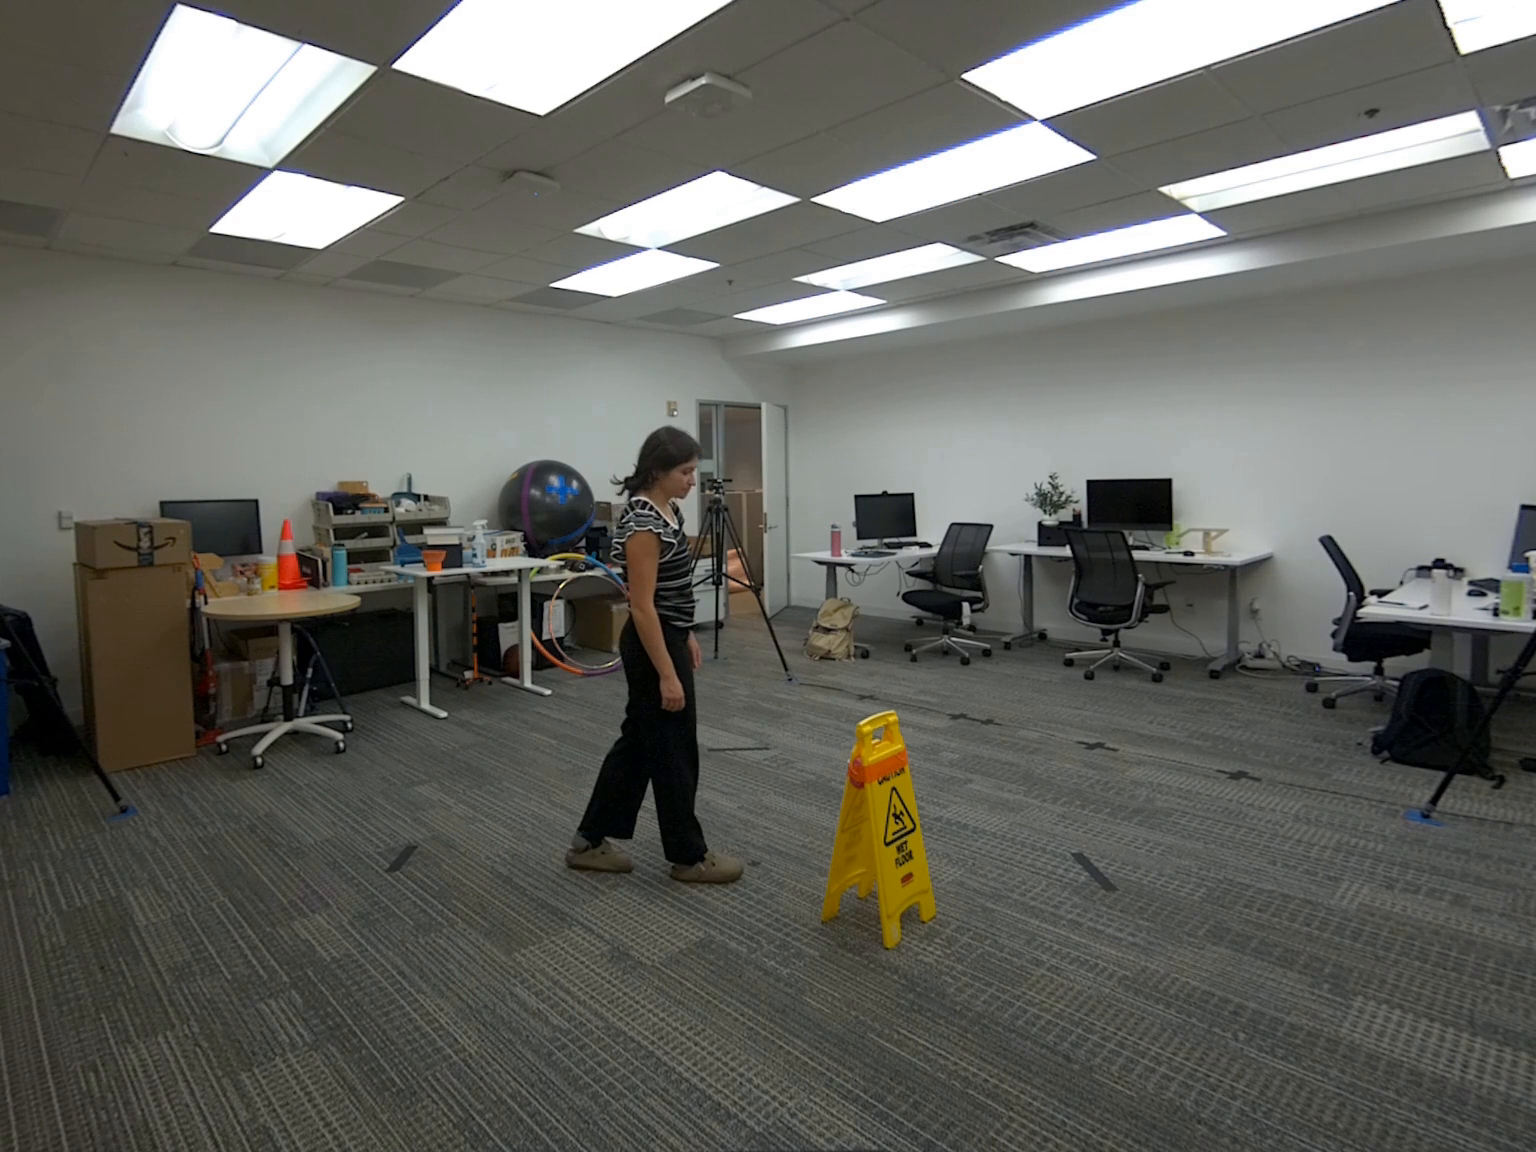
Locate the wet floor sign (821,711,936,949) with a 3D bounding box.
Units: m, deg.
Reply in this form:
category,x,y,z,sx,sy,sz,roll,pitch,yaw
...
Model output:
category,x,y,z,sx,sy,sz,roll,pitch,yaw
wet floor sign,0.352,0.763,2.679,0.299,0.643,0.275,4,6,41
